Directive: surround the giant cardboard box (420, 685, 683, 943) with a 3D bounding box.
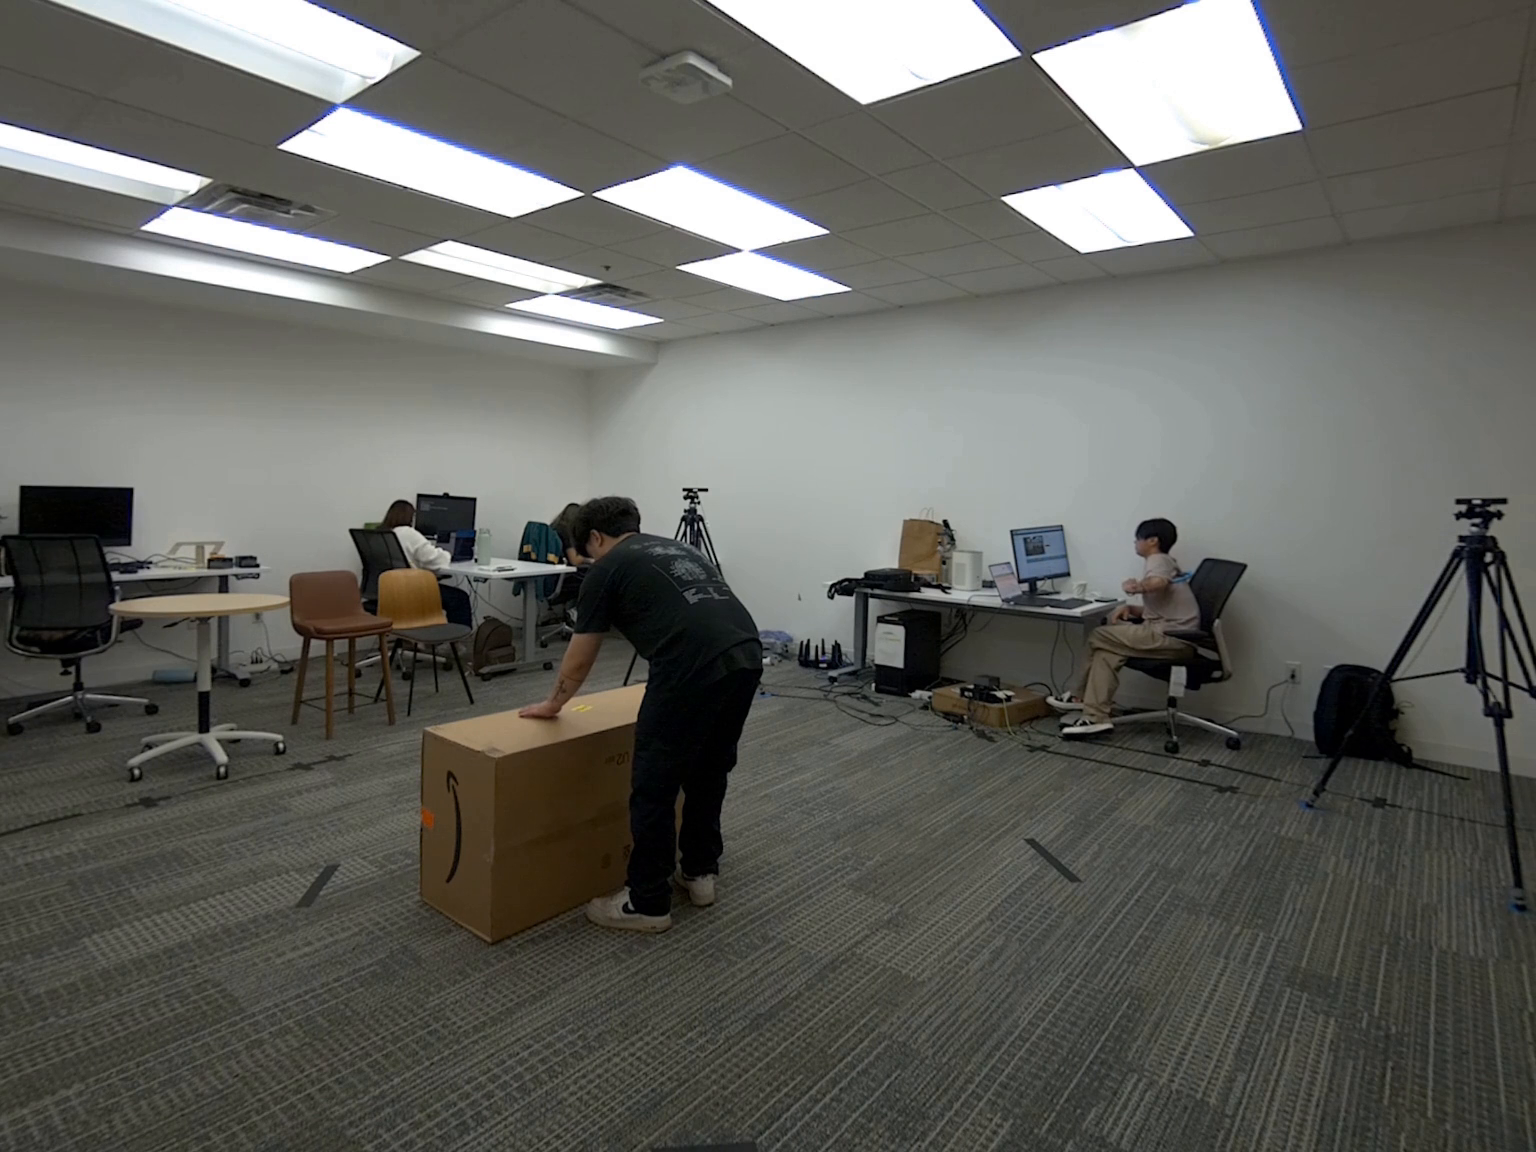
[{"bbox_3d":[-0.689,0.780,3.072,0.461,0.583,0.996,3,4,39],"label":"giant cardboard box"}]
